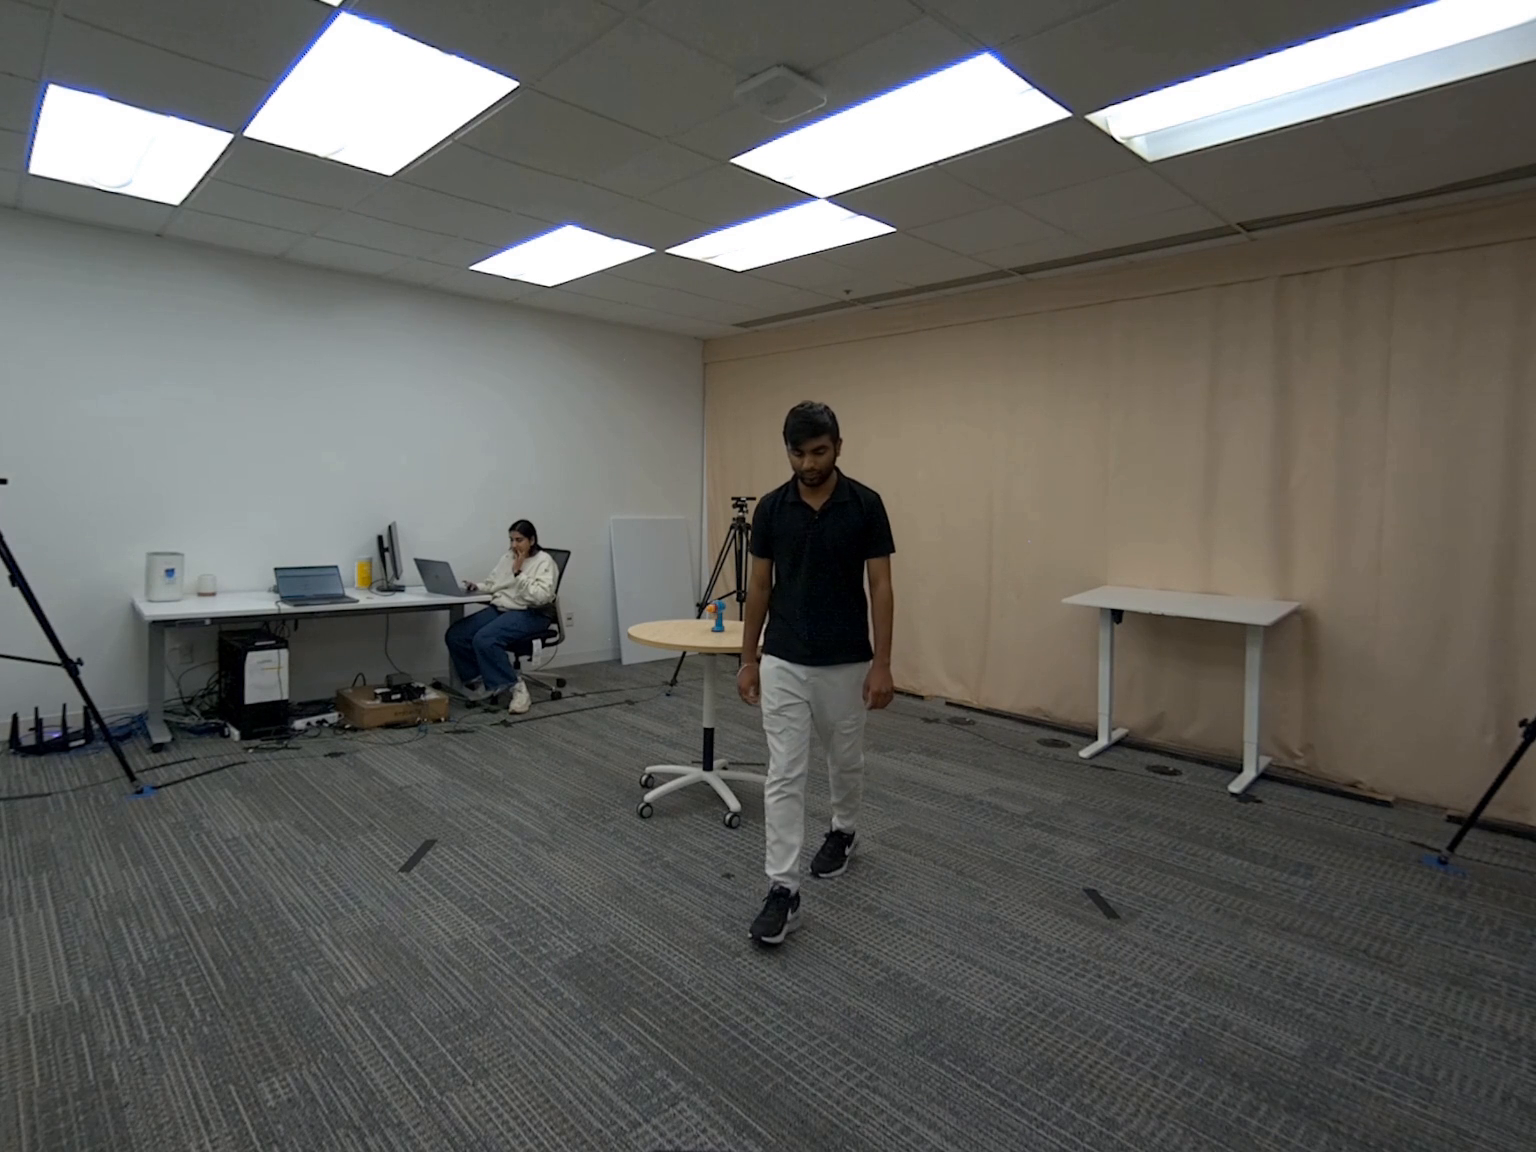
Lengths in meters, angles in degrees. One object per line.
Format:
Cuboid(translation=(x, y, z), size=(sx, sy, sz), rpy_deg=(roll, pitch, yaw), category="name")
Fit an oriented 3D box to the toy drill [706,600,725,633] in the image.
Cuboid(translation=(-0.252, 0.184, 3.837), size=(0.062, 0.145, 0.167), rpy_deg=(3, 5, 21), category="toy drill")
